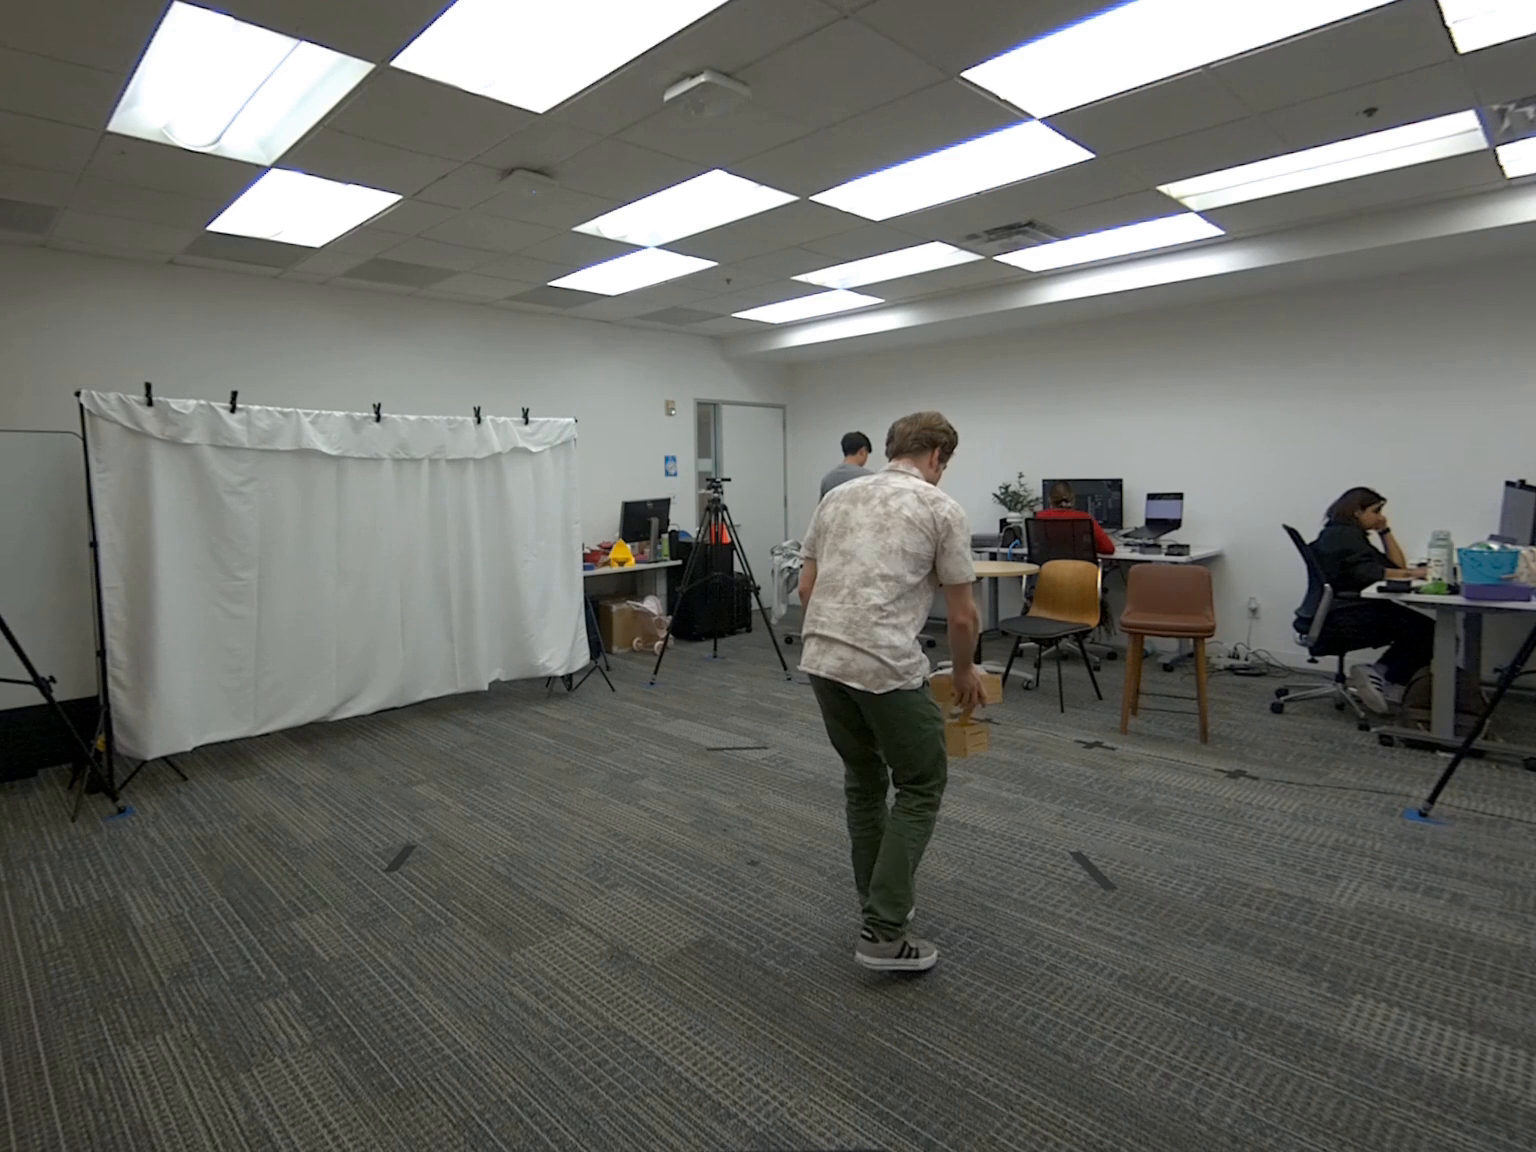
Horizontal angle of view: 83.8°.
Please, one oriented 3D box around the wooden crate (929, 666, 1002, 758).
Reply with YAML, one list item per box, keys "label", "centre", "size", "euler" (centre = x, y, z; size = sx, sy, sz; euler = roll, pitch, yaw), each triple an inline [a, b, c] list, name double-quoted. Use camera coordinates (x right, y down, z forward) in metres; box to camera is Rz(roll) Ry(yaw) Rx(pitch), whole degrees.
- label: "wooden crate"
  centre: [0.616, 0.463, 2.903]
  size: [0.309, 0.275, 0.315]
  euler: [-1, -6, 28]
